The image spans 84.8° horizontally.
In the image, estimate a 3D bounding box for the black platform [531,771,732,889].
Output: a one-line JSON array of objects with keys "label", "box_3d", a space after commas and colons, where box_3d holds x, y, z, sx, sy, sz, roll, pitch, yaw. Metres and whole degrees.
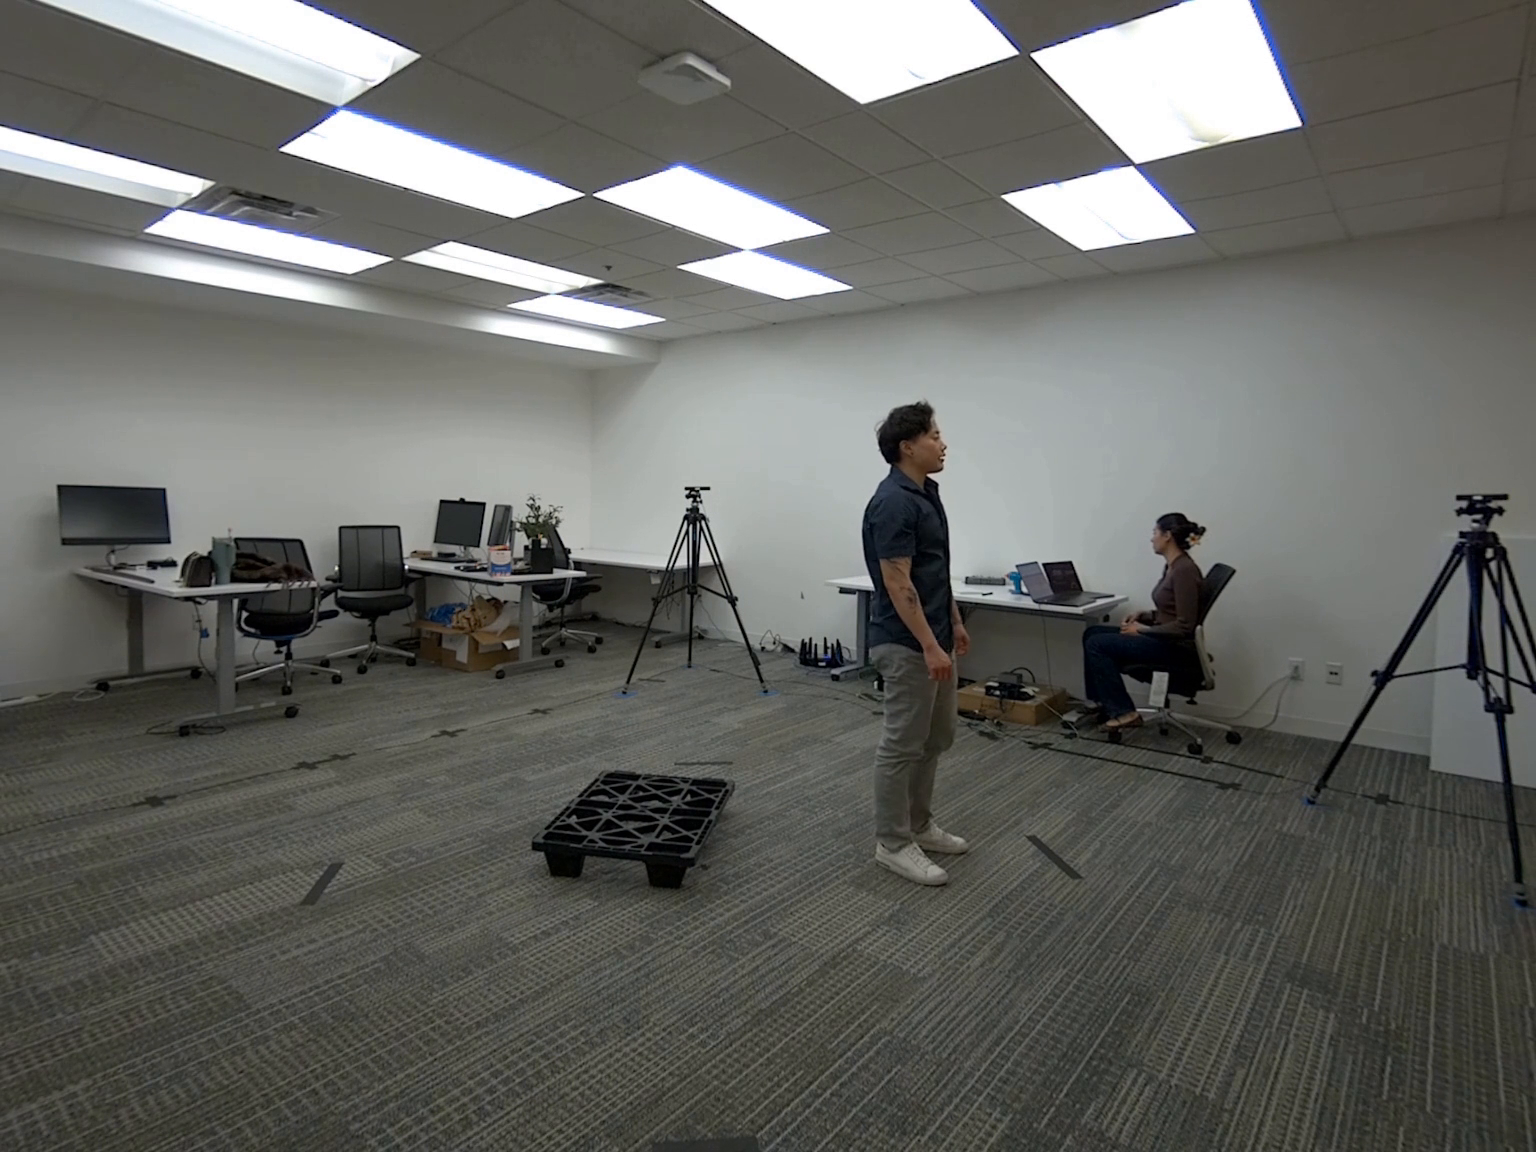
[{"label": "black platform", "box_3d": [-0.502, 0.971, 3.333, 0.612, 0.143, 0.799, 1, 5, 9]}]
